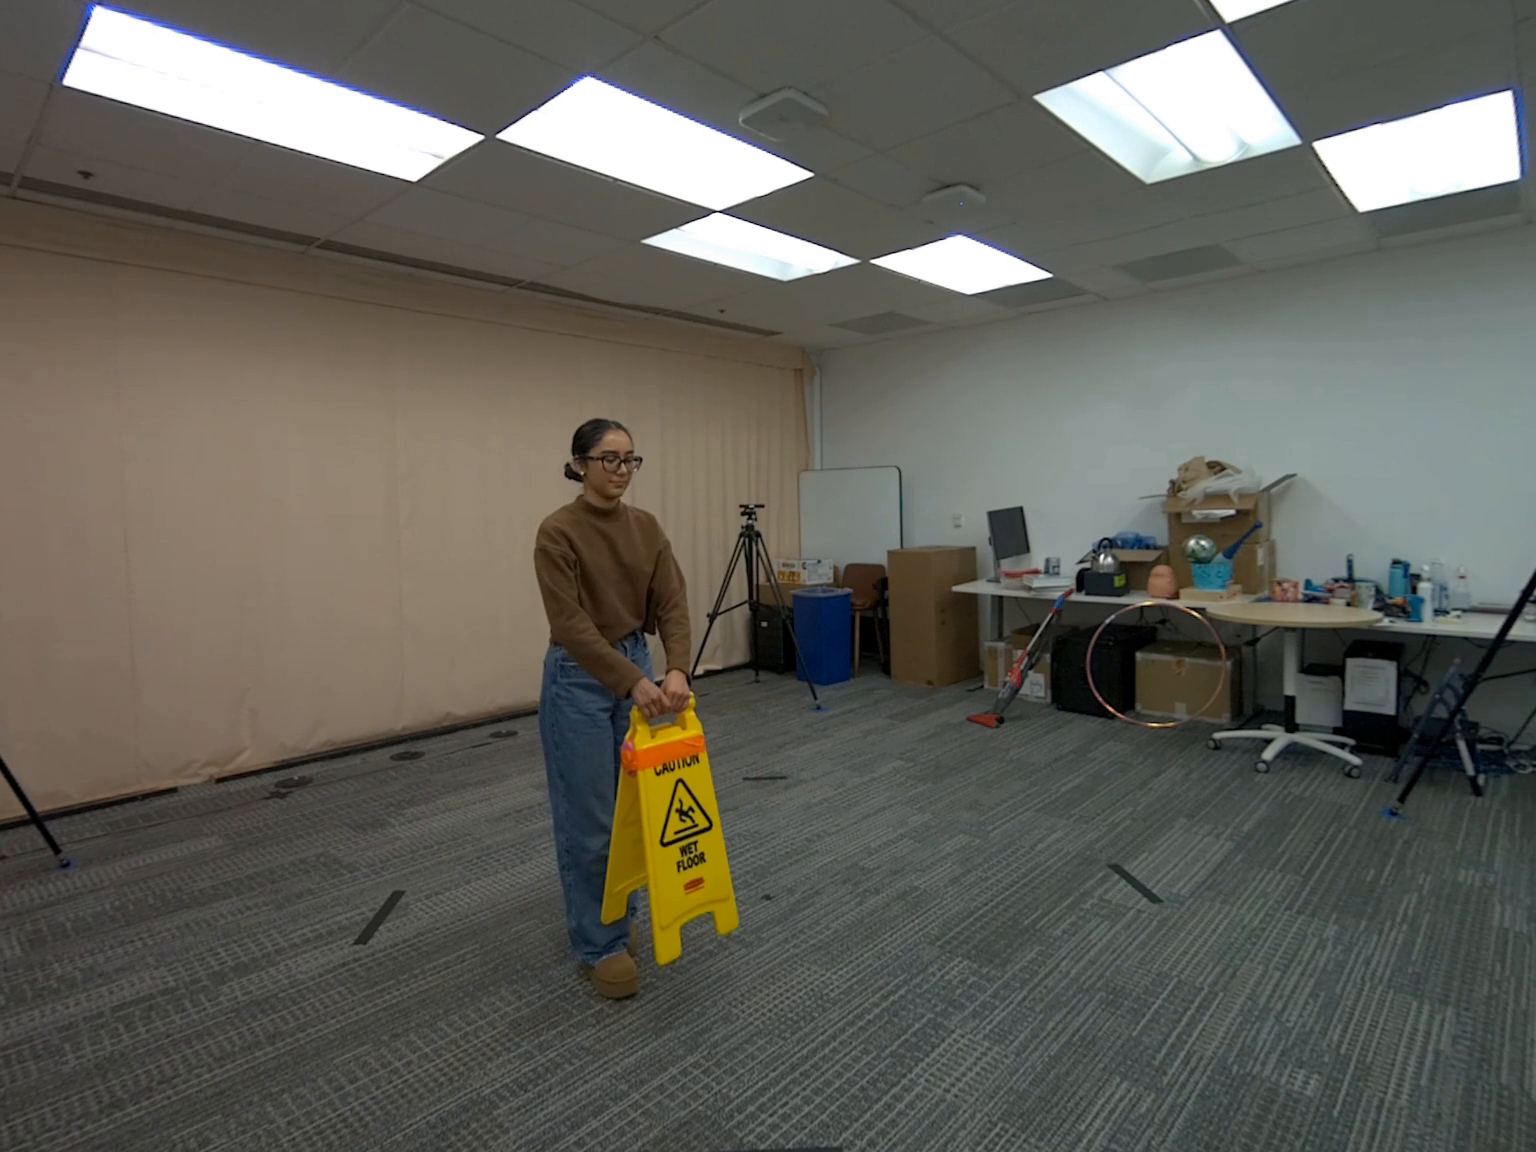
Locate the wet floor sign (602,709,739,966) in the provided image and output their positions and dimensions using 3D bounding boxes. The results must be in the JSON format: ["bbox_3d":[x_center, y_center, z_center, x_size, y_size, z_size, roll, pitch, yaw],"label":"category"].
[{"bbox_3d":[-0.275,0.651,2.294,0.274,0.643,0.299,-6,8,-41],"label":"wet floor sign"}]
